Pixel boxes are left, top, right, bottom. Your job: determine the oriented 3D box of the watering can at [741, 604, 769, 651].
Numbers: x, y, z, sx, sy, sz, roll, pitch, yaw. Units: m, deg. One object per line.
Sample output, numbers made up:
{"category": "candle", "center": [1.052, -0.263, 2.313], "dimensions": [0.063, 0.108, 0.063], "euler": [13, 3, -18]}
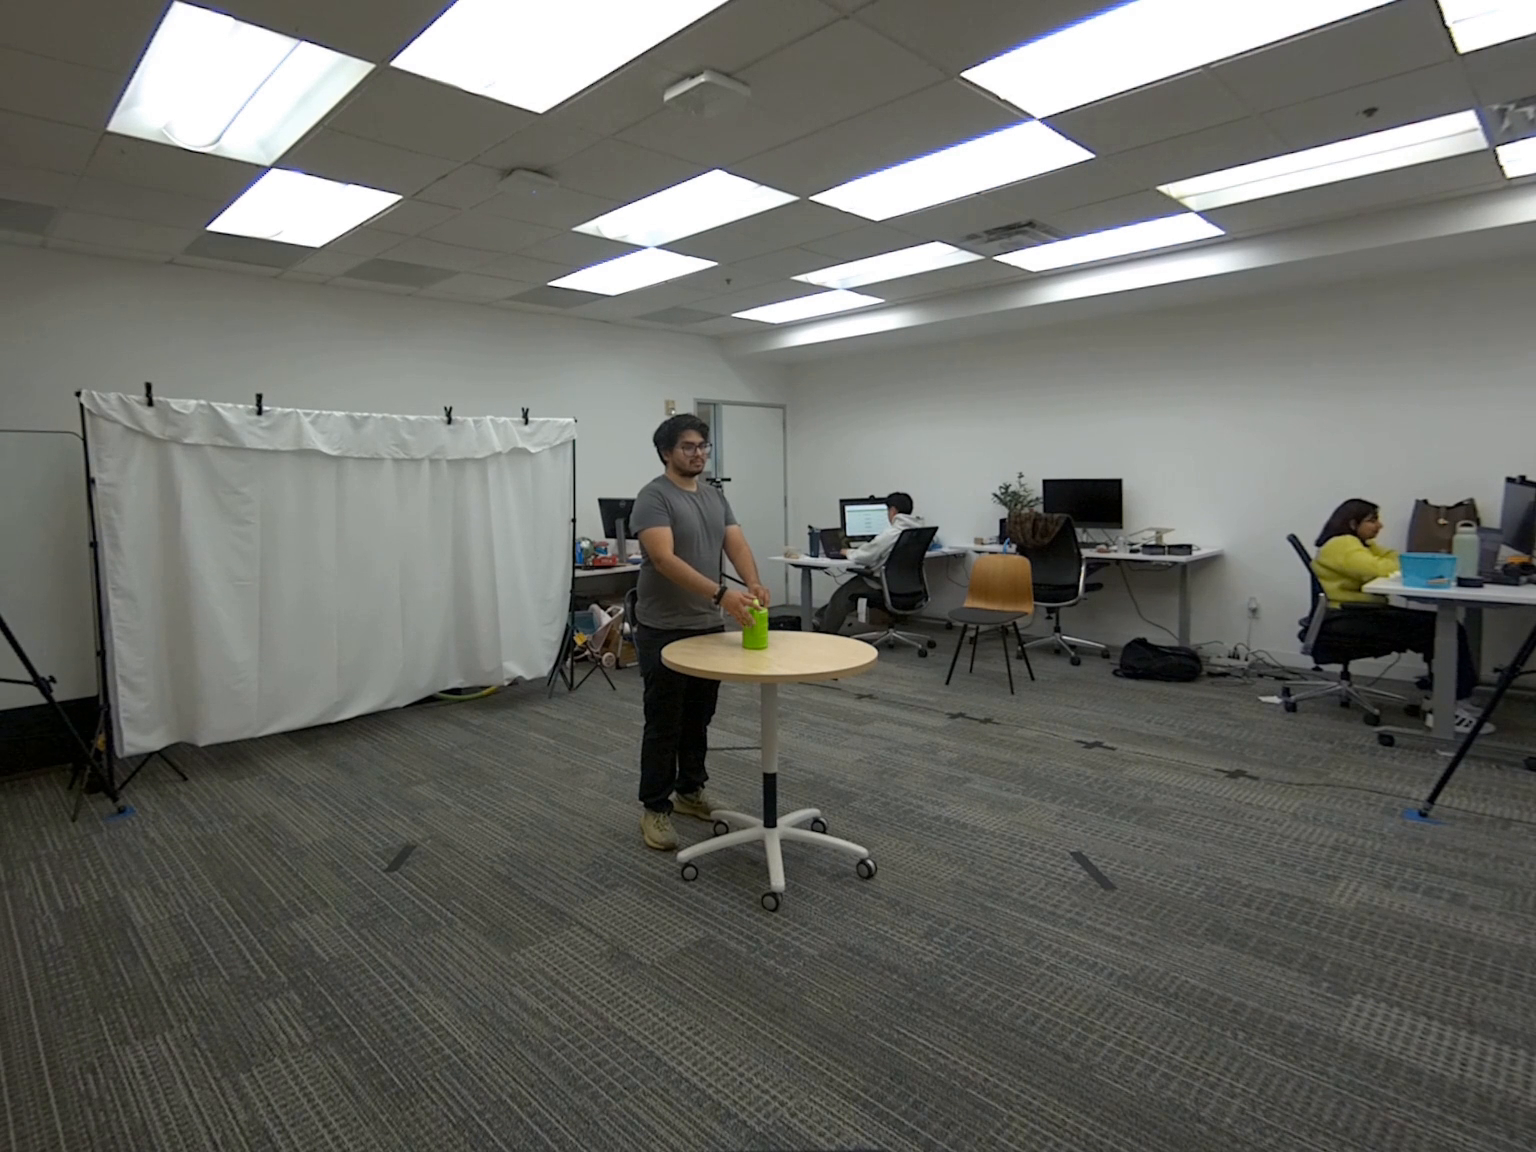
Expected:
{"category": "watering can", "center": [-0.041, 0.171, 3.154], "dimensions": [0.099, 0.176, 0.277], "euler": [-1, 6, 8]}
